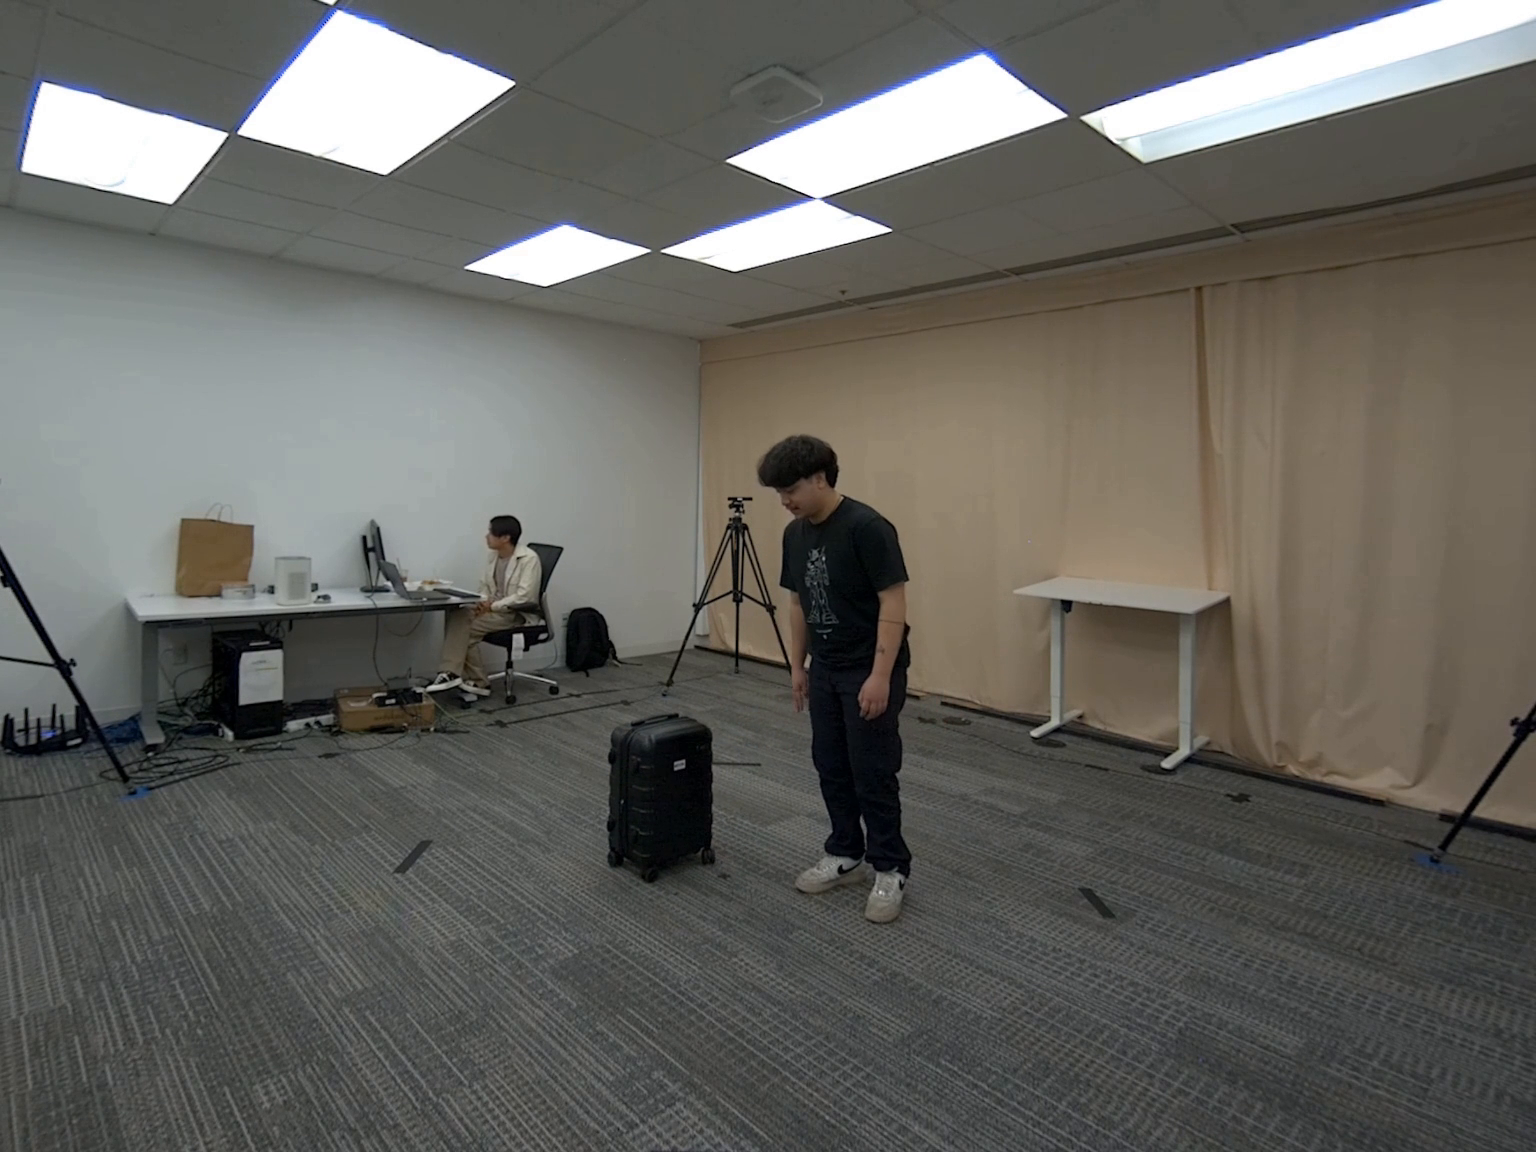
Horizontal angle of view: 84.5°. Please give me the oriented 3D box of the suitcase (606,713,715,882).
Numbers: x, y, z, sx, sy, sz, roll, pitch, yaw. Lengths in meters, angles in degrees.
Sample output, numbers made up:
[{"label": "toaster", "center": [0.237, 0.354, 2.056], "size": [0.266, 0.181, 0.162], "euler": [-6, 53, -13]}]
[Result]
[{"label": "suitcase", "center": [-0.409, 0.815, 3.201], "size": [0.367, 0.549, 0.254], "euler": [-2, 3, -42]}]
